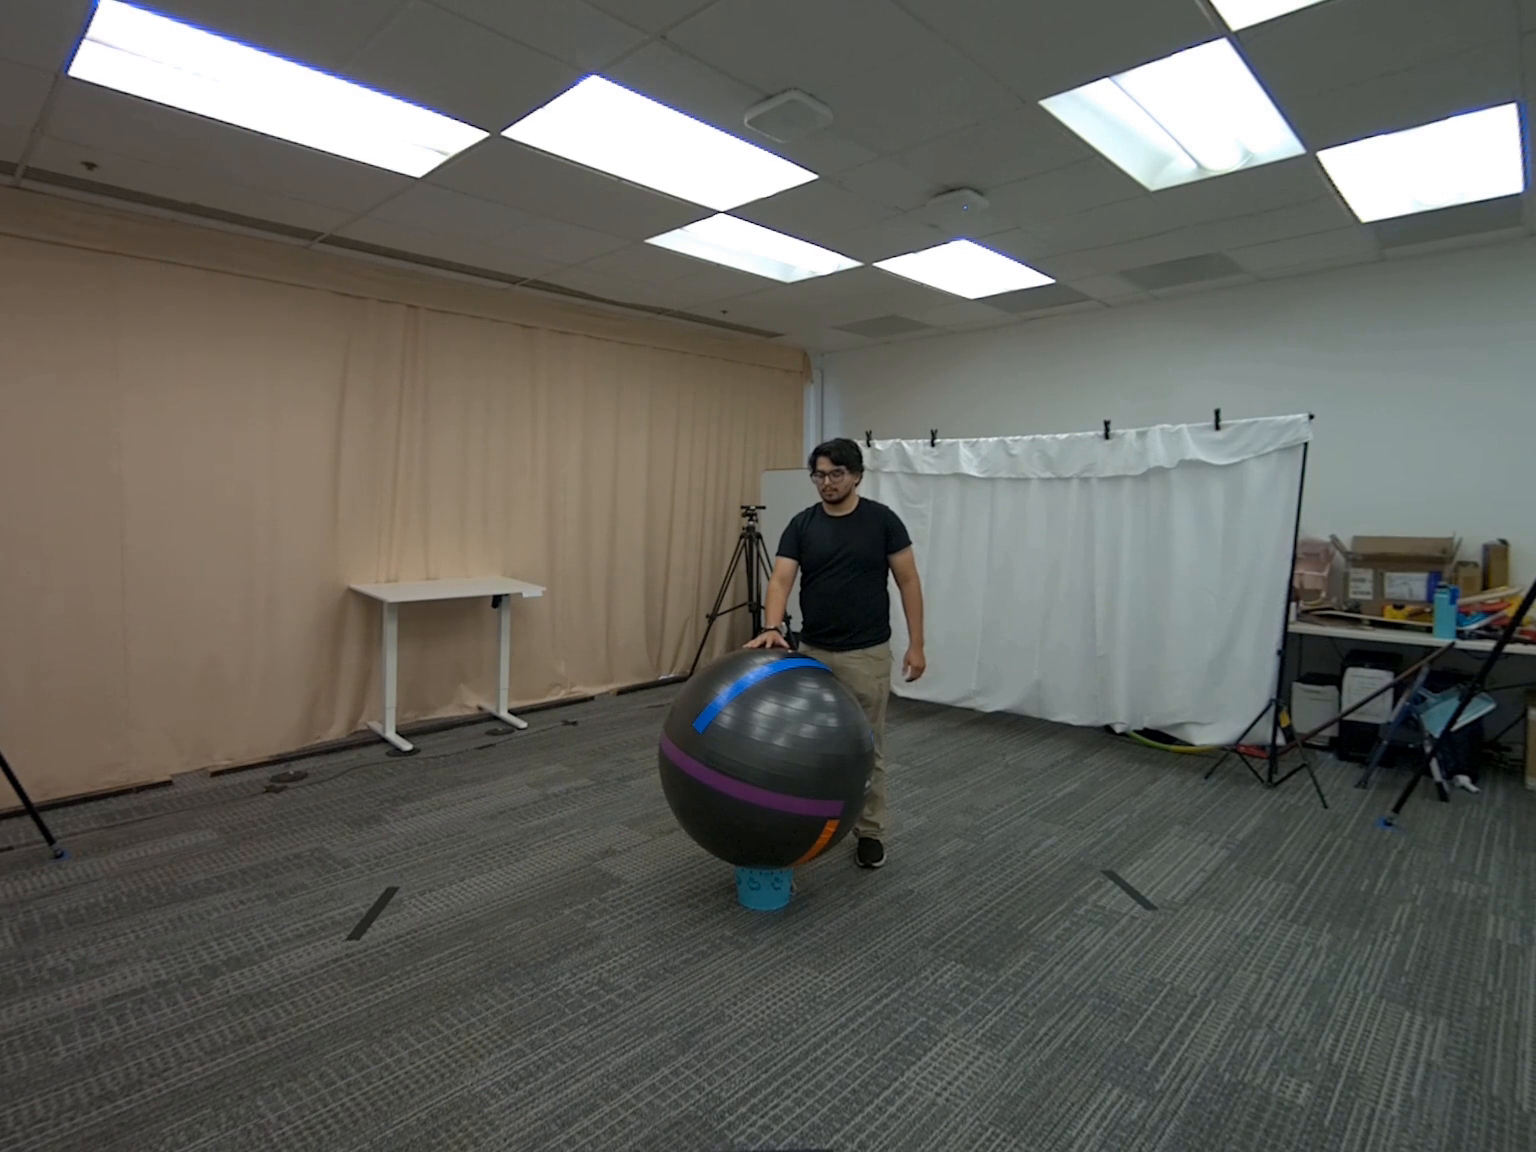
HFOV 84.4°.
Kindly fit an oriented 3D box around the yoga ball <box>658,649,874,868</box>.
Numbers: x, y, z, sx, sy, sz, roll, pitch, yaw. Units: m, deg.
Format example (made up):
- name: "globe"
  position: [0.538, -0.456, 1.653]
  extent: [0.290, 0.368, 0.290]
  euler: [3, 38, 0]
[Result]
- name: "yoga ball"
  position: [0.004, 0.635, 2.964]
  extent: [0.757, 0.756, 0.760]
  euler: [0, 4, -2]
